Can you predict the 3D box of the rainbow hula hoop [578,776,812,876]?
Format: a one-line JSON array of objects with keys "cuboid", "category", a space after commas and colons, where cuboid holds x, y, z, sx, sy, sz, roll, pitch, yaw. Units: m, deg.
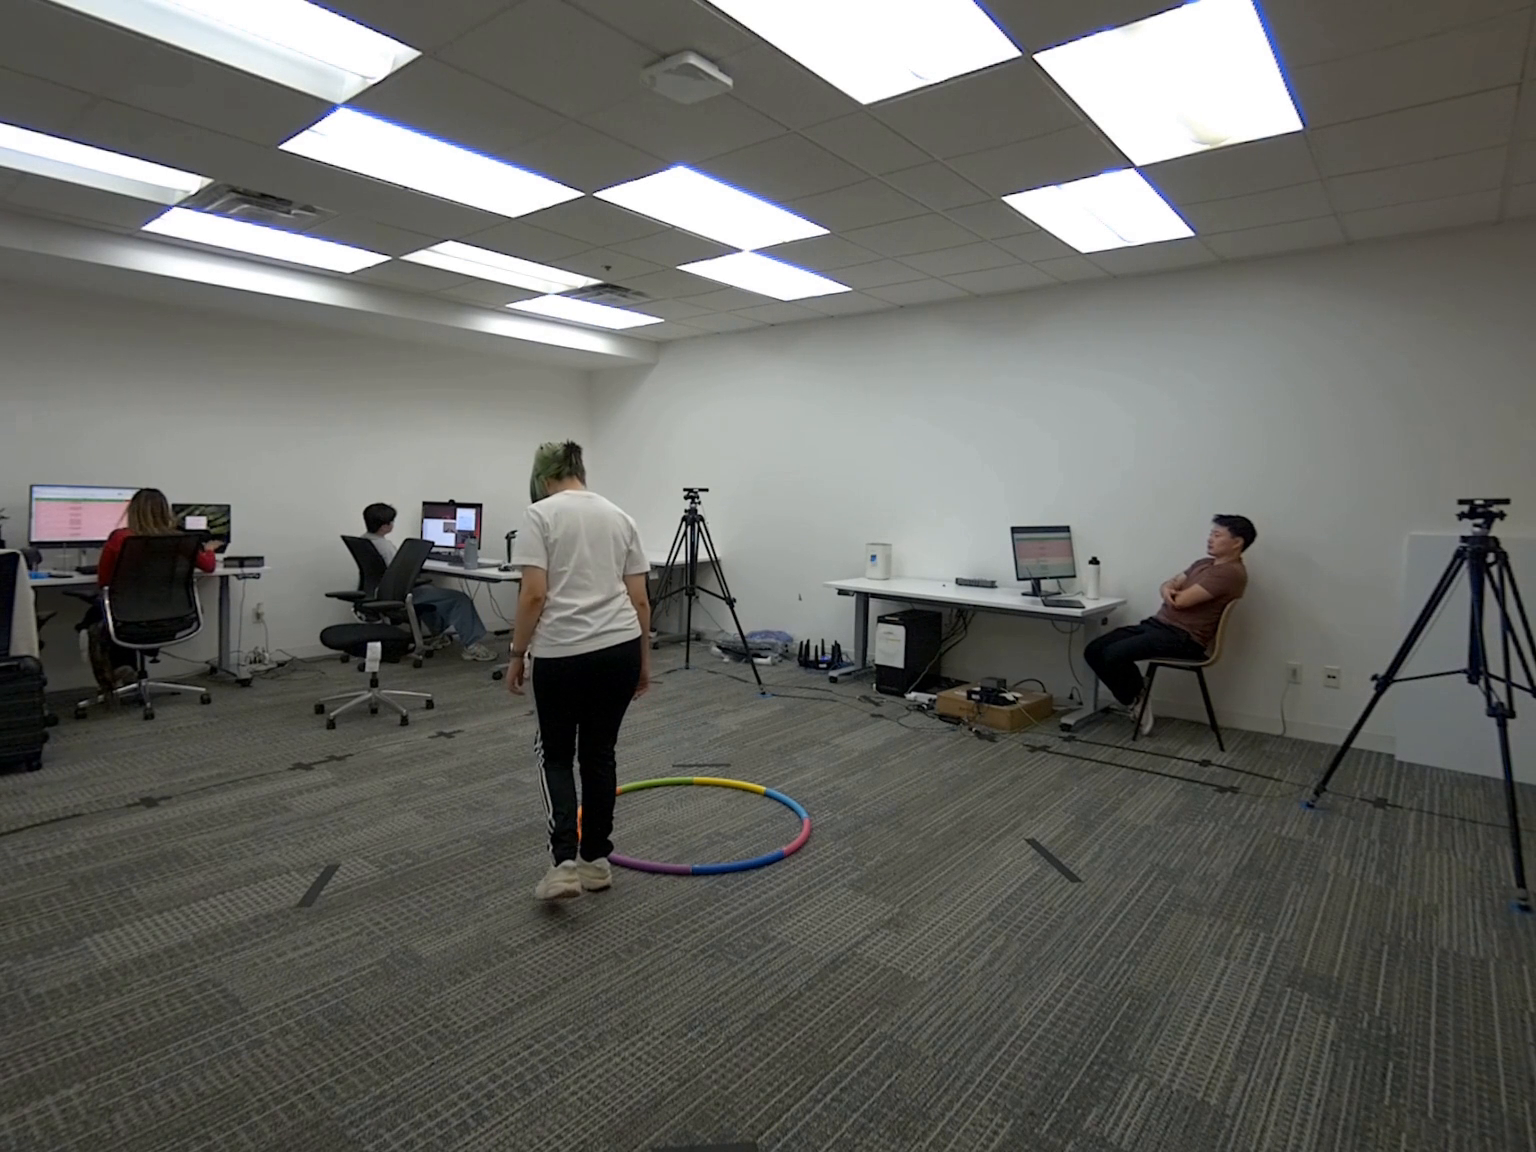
[{"cuboid": [-0.325, 0.997, 3.529, 0.978, 0.035, 0.984, 1, 6, -2], "category": "rainbow hula hoop"}]
